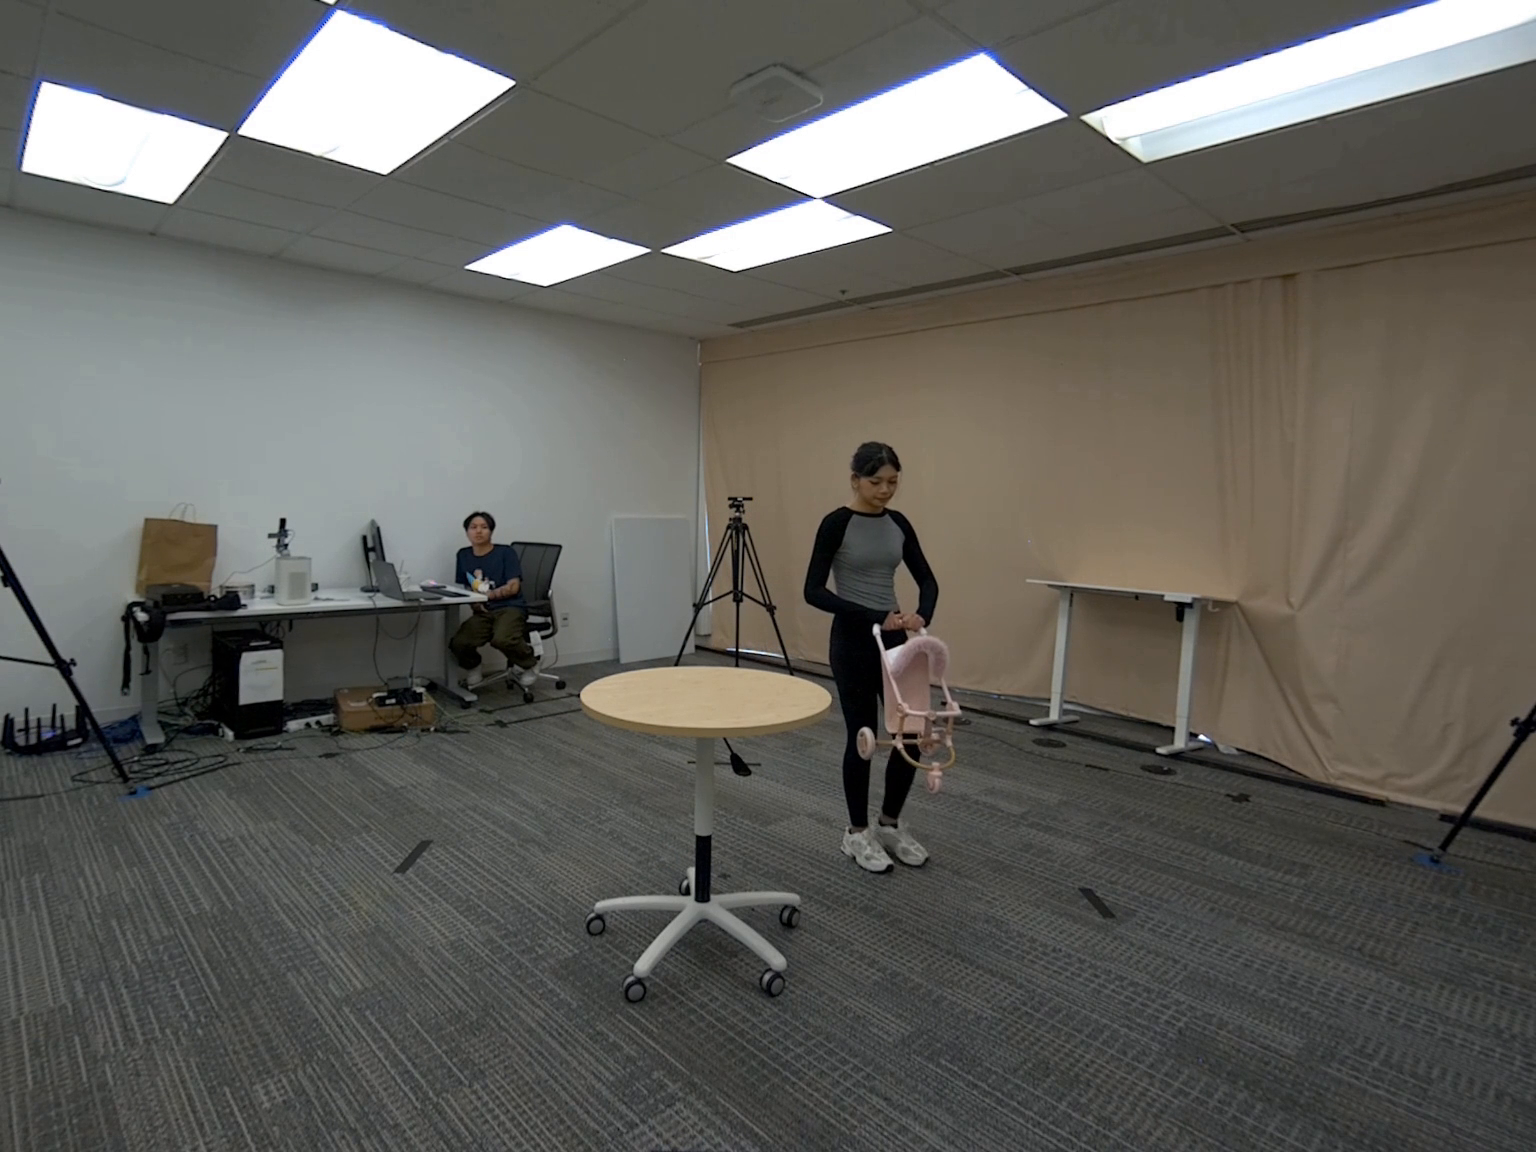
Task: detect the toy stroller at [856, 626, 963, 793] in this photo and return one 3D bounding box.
[{"bbox_3d":[0.486,0.431,2.821,0.278,0.535,0.345,4,0,-16],"label":"toy stroller"}]
